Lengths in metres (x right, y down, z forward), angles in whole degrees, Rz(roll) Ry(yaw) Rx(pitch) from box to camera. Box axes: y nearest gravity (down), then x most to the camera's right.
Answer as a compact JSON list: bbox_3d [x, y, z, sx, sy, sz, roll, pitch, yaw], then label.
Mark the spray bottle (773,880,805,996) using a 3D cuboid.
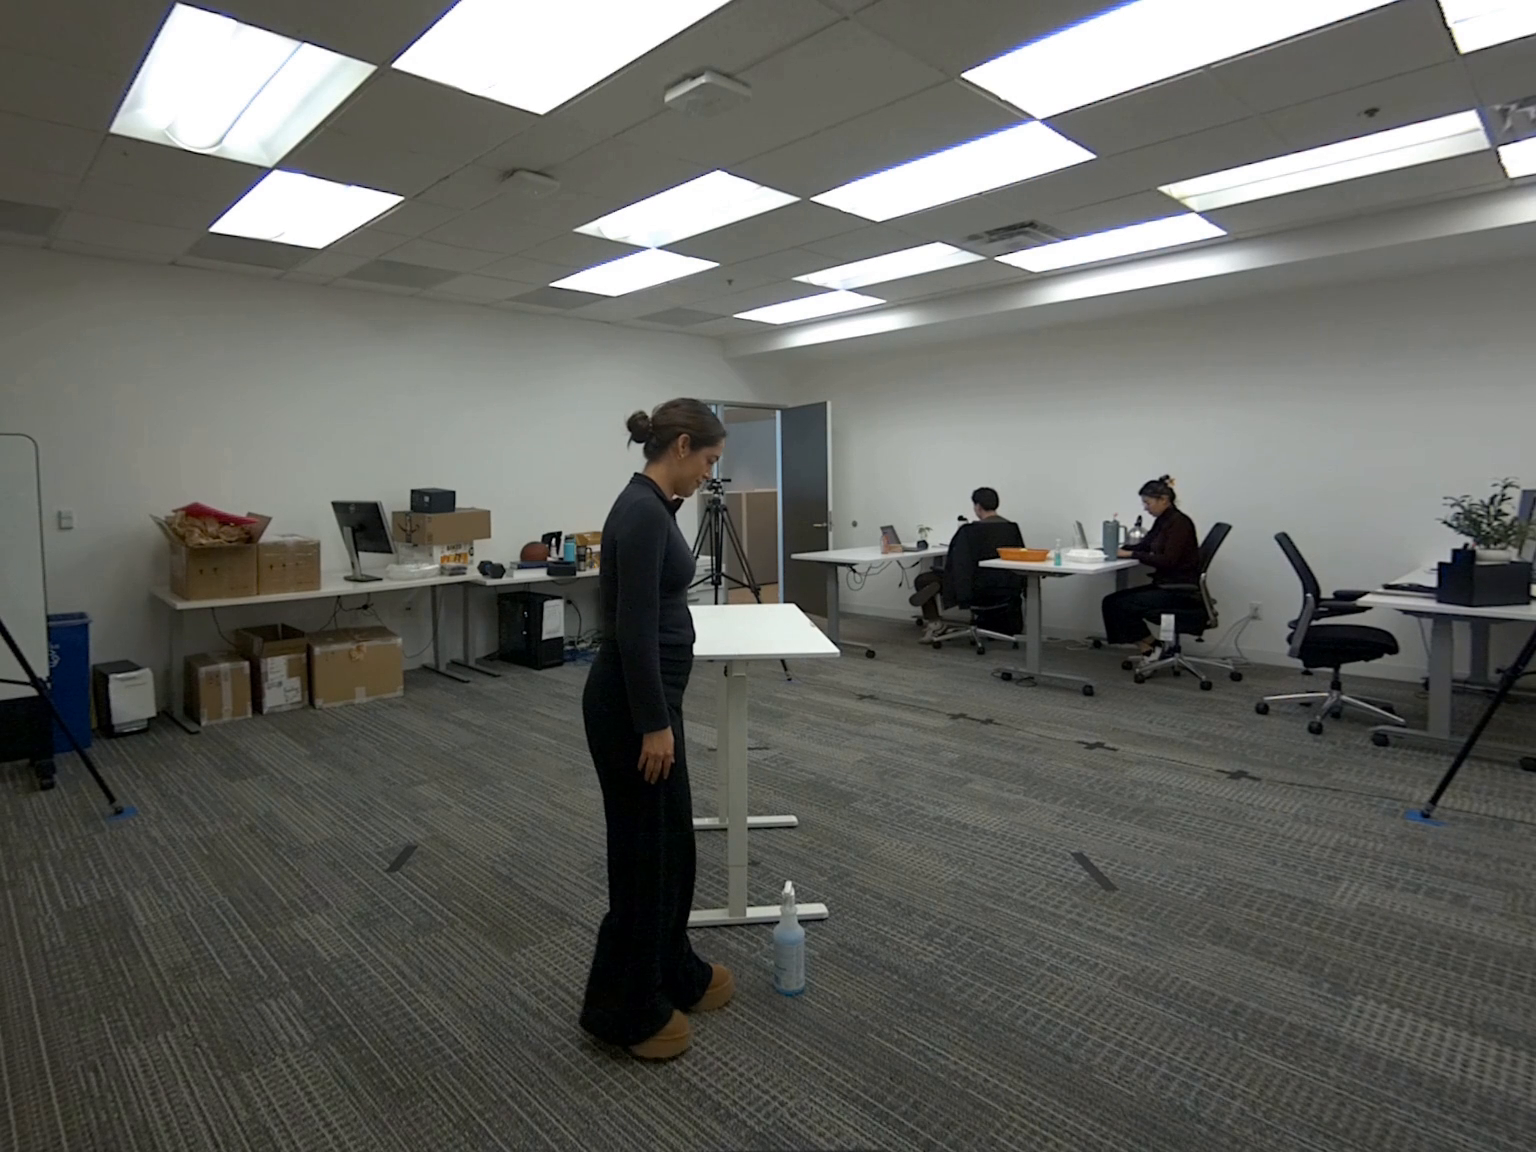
[{"bbox_3d":[0.067,0.990,2.337,0.089,0.296,0.088,3,6,31],"label":"spray bottle"}]
